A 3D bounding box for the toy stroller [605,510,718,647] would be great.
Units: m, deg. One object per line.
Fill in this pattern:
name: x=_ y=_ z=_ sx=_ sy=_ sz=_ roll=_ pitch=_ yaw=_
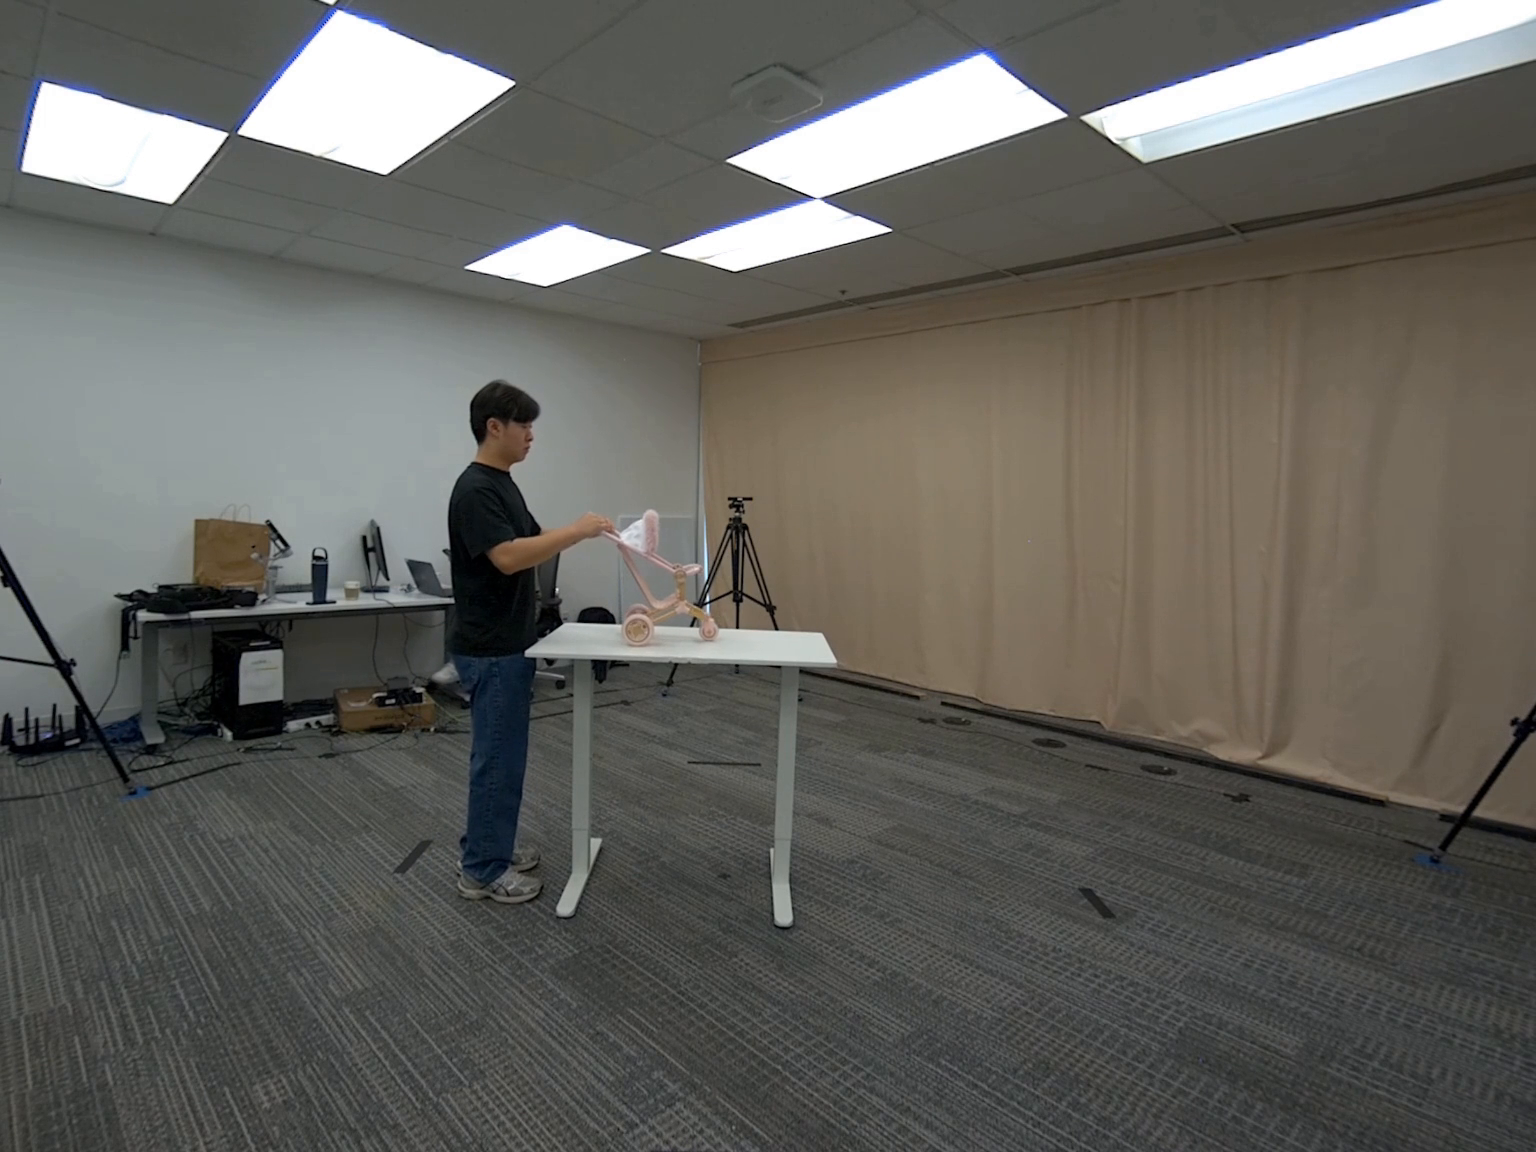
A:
toy stroller: x=-0.400 y=0.006 z=2.963 sx=0.341 sy=0.533 sz=0.283 roll=-14 pitch=5 yaw=-2
